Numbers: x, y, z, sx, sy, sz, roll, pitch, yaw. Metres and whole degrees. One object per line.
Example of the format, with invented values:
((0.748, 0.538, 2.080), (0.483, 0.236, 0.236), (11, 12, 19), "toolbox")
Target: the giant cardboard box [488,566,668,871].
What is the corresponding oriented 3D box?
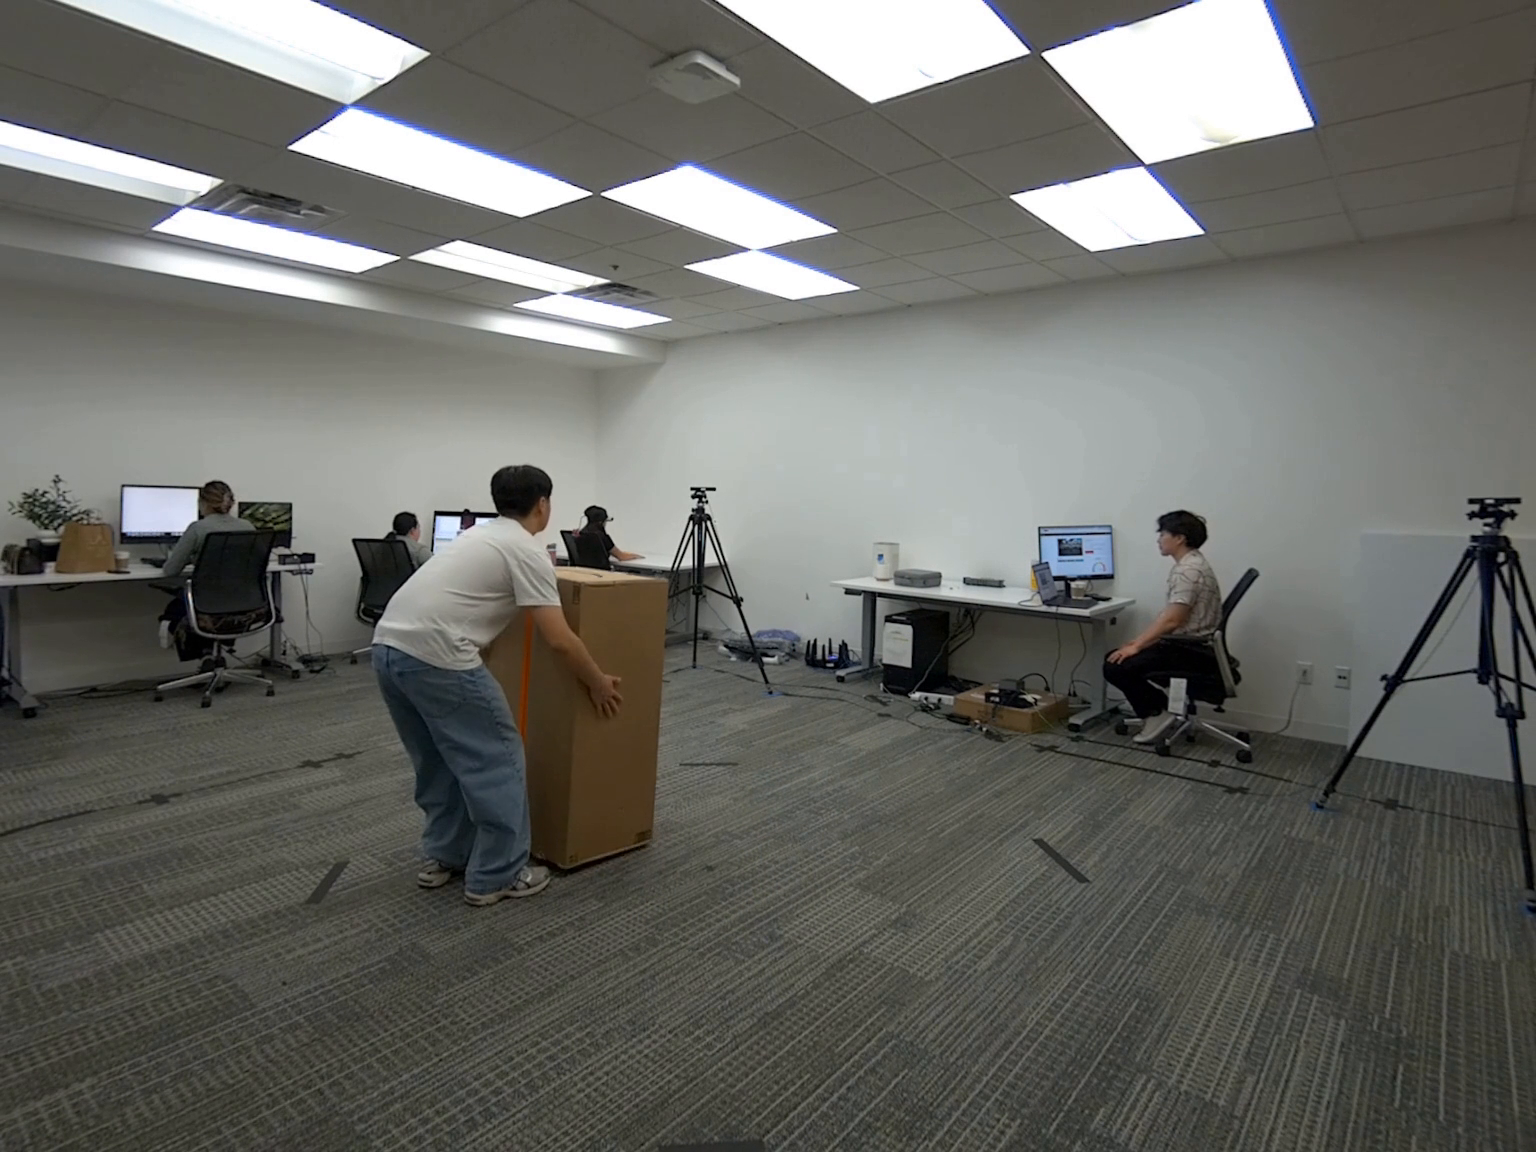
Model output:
((-0.772, 0.477, 3.334), (0.597, 1.024, 0.412), (5, 2, 42), "giant cardboard box")
